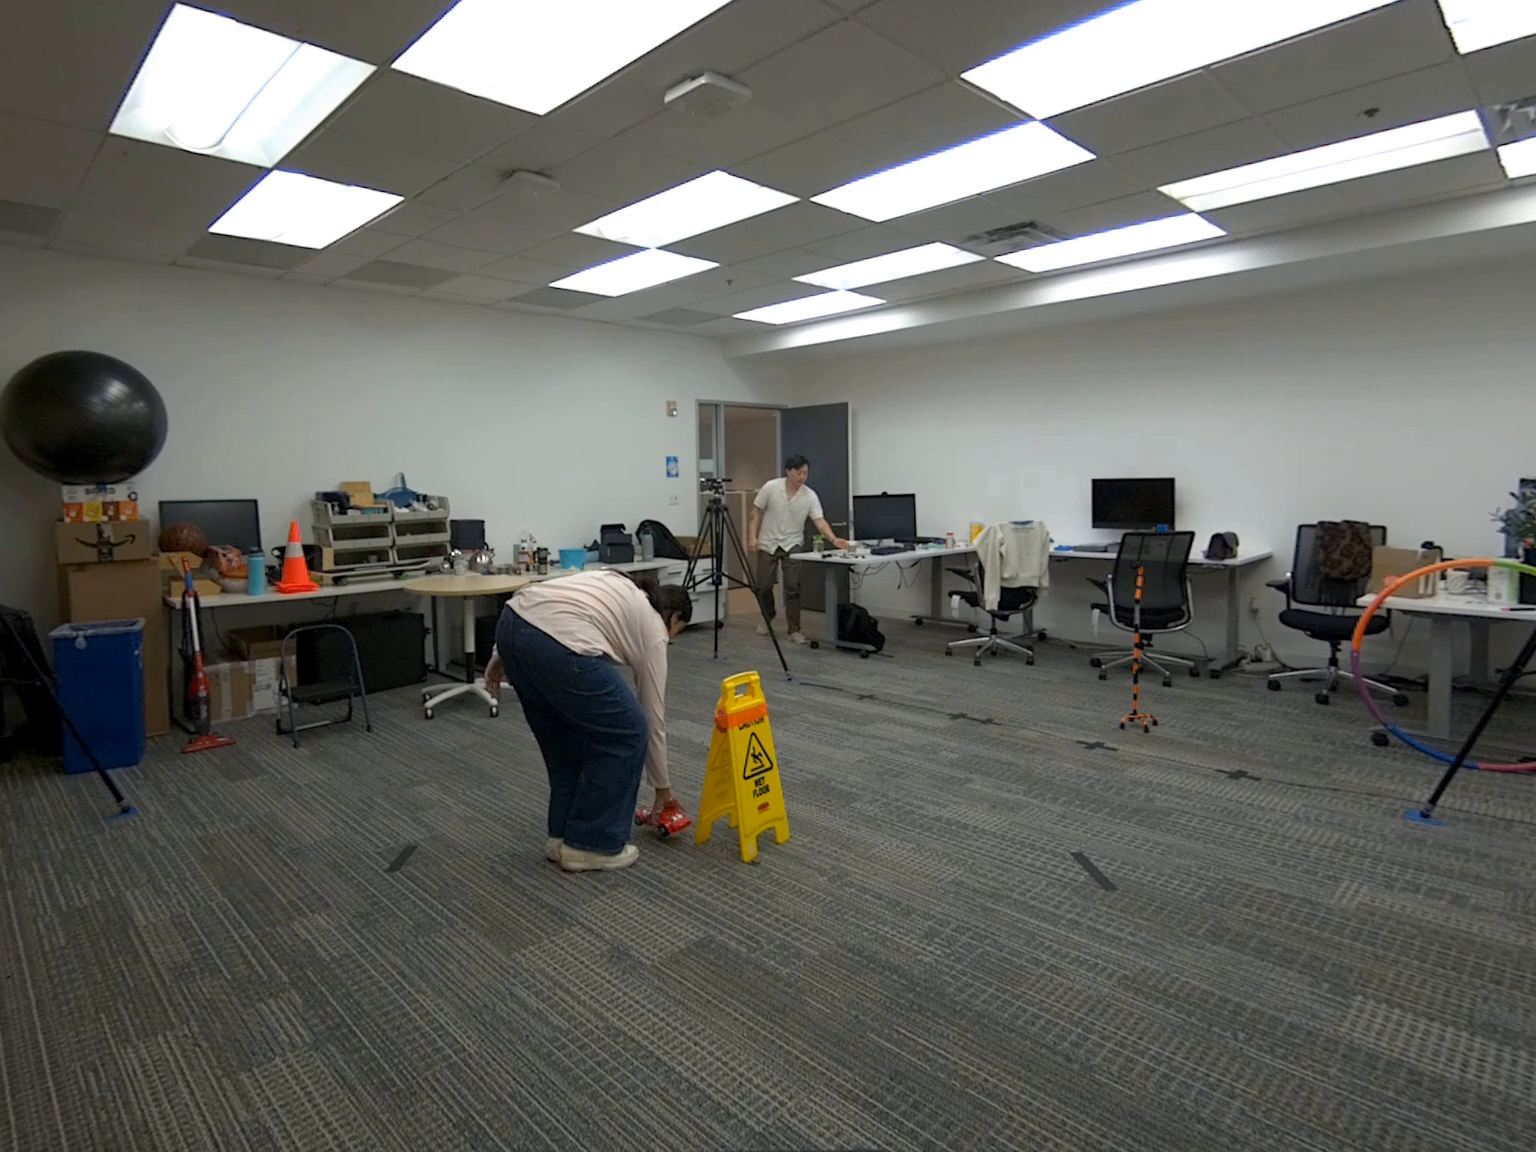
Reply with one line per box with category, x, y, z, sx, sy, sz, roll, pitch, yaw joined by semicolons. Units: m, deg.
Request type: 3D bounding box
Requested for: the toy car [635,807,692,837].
toy car;-0.409;0.957;3.352;0.261;0.083;0.127;-6;0;42
